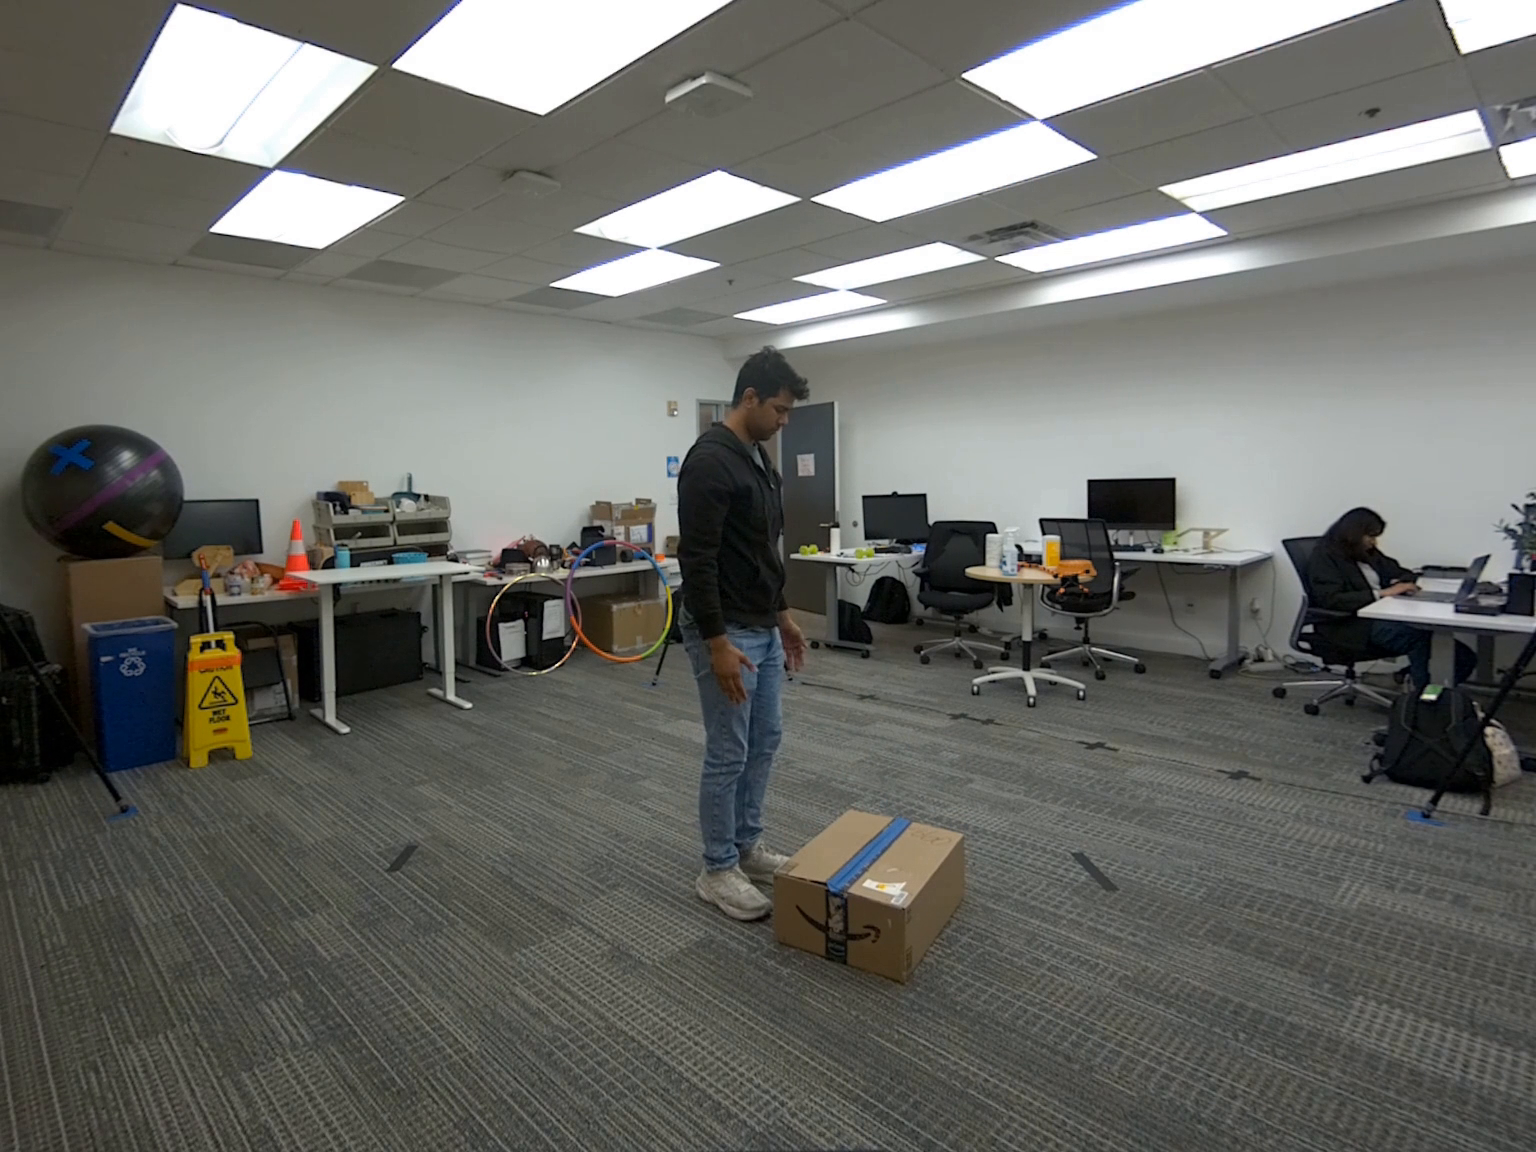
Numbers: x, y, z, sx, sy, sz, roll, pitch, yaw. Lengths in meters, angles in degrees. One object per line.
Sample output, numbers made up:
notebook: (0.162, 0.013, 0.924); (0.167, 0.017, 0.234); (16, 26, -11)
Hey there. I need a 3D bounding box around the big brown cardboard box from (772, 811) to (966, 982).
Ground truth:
big brown cardboard box: (0.329, 0.974, 2.686); (0.429, 0.232, 0.576); (3, 7, 30)
